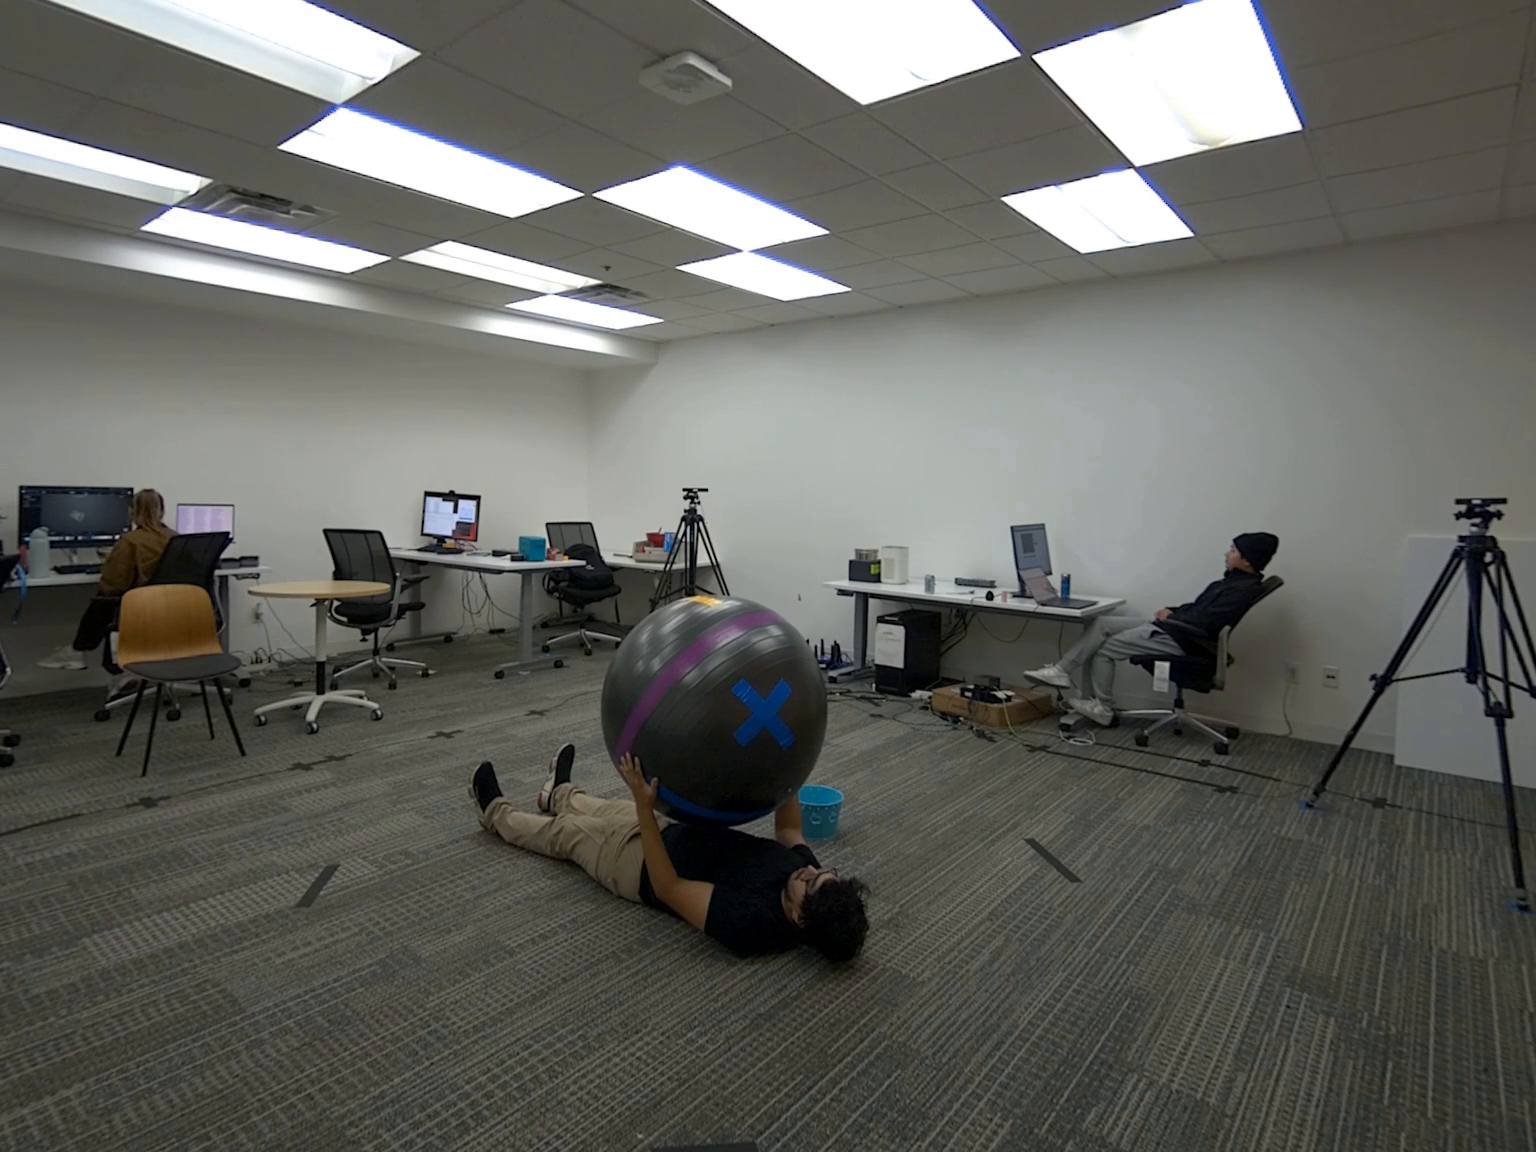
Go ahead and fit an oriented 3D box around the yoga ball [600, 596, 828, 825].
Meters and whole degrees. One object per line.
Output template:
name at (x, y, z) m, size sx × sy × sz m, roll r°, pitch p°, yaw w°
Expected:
yoga ball at (-0.188, 0.442, 2.848) m, size 0.757 × 0.756 × 0.761 m, roll 0°, pitch 4°, yaw -2°
